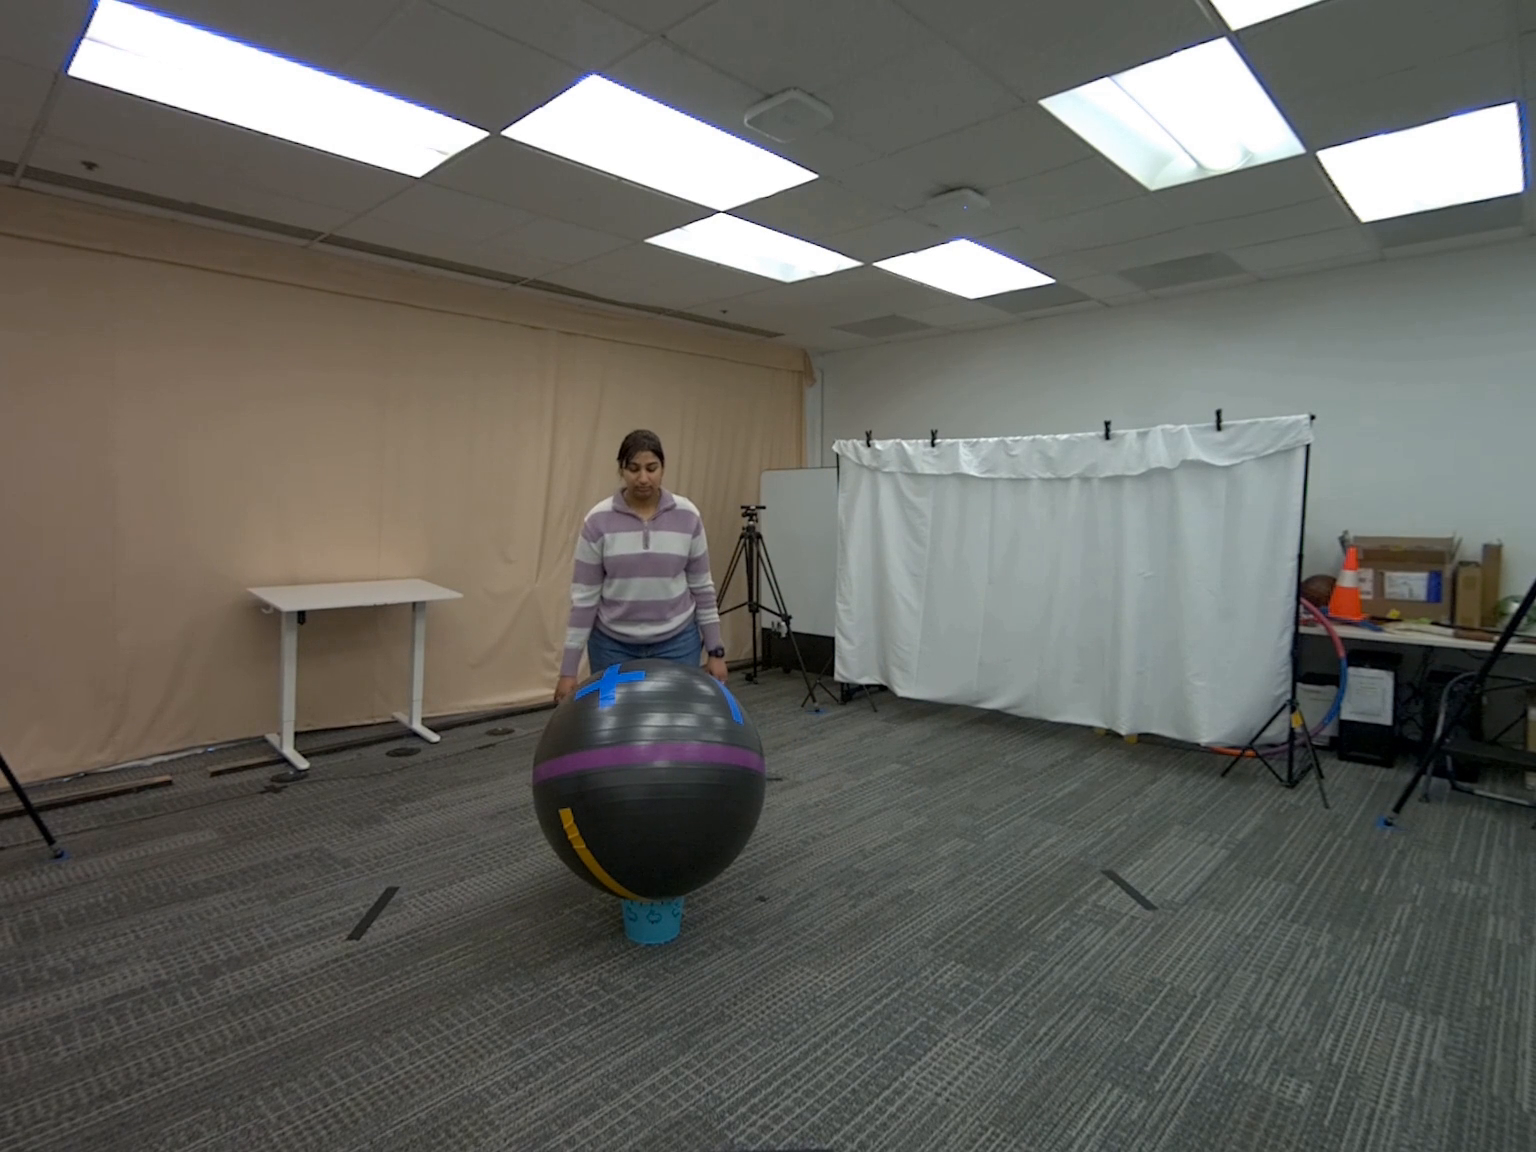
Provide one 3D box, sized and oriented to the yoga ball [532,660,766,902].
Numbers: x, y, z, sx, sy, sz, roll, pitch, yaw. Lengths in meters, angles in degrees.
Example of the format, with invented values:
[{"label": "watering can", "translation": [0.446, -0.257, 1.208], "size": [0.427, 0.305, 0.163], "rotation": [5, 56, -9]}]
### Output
[{"label": "yoga ball", "translation": [-0.397, 0.660, 2.759], "size": [0.757, 0.756, 0.760], "rotation": [0, 4, -2]}]
